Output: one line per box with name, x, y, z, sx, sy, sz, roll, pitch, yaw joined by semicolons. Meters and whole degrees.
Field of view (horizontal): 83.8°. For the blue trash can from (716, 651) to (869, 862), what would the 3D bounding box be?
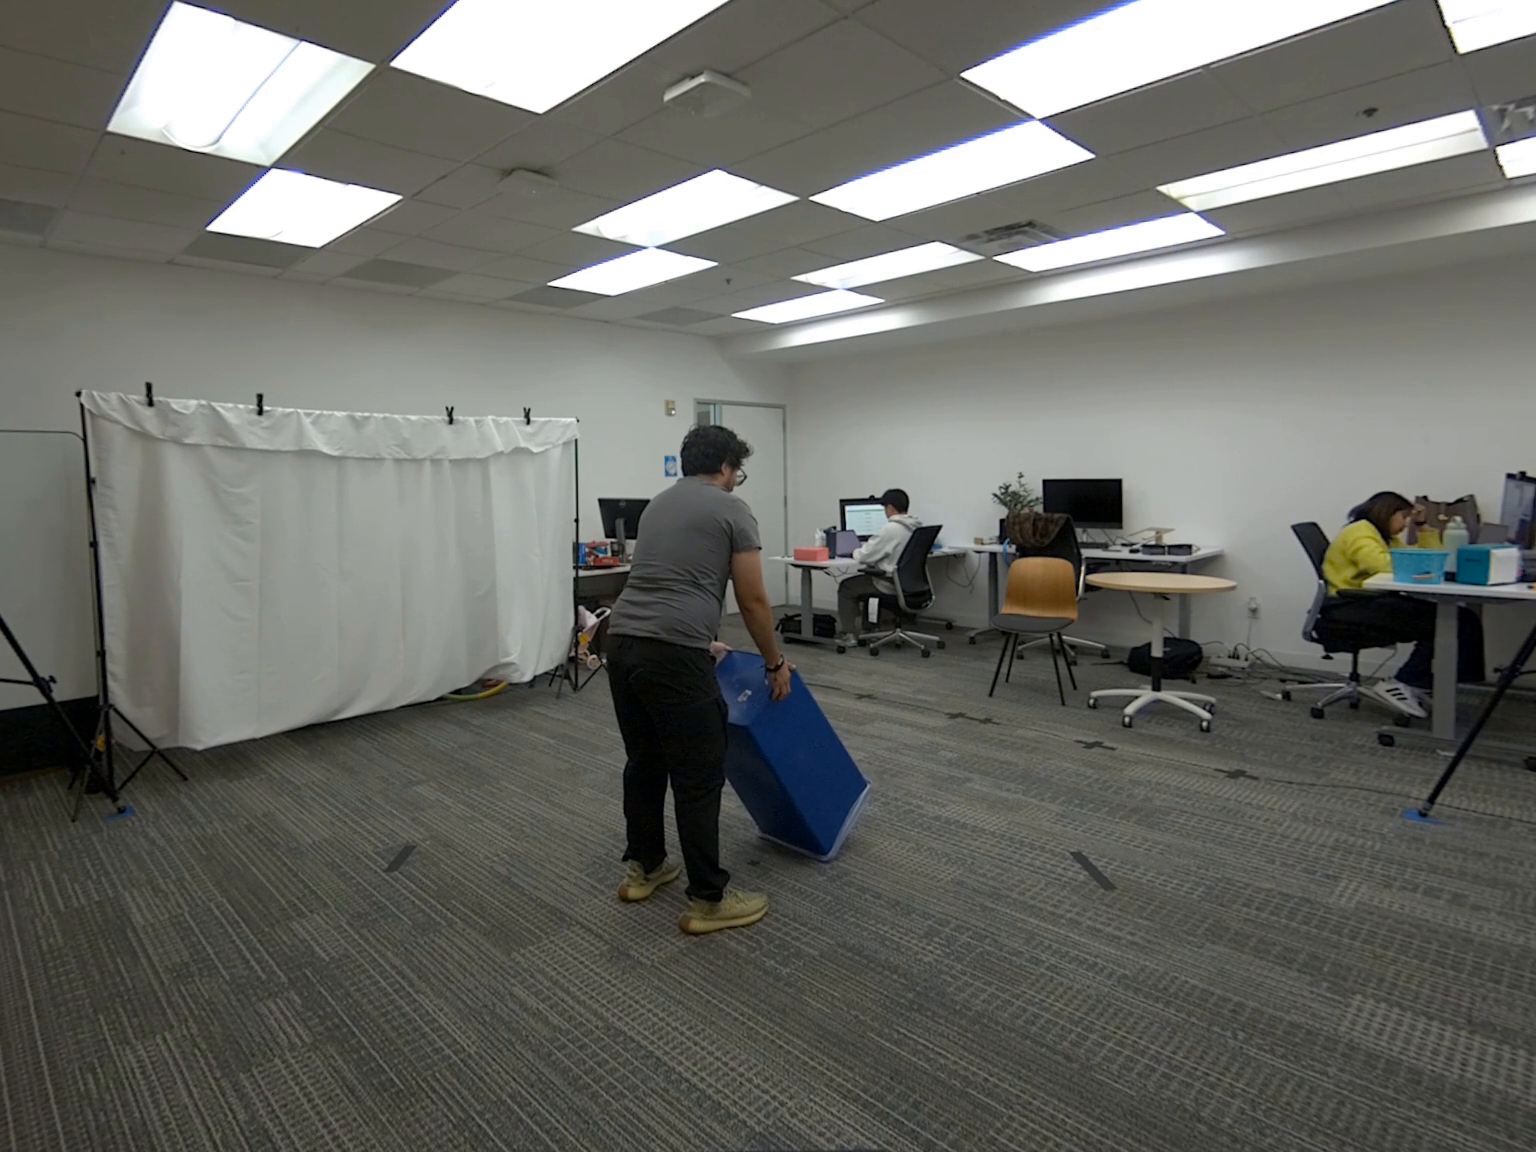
blue trash can;0.044;0.653;3.137;0.386;0.691;0.379;4;43;43
